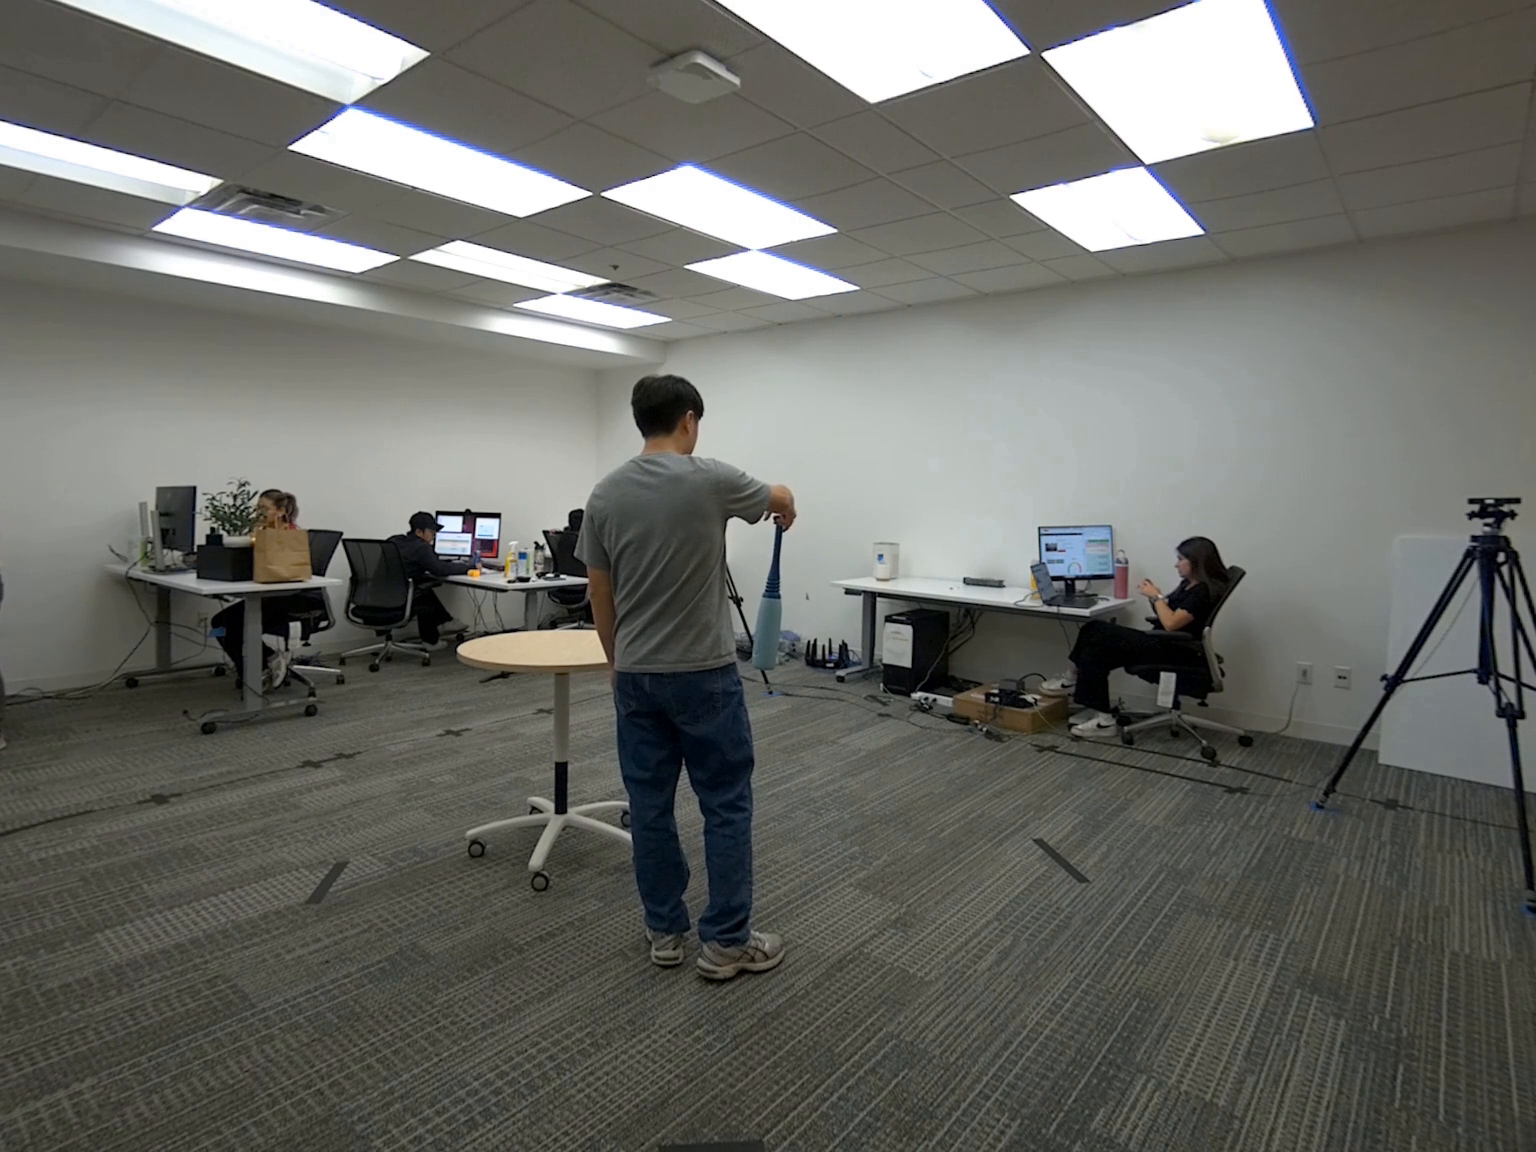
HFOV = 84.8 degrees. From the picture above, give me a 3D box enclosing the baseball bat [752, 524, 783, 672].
[{"bbox_3d":[0.005,0.053,2.979,0.089,0.544,0.089,7,-3,-2],"label":"baseball bat"}]
